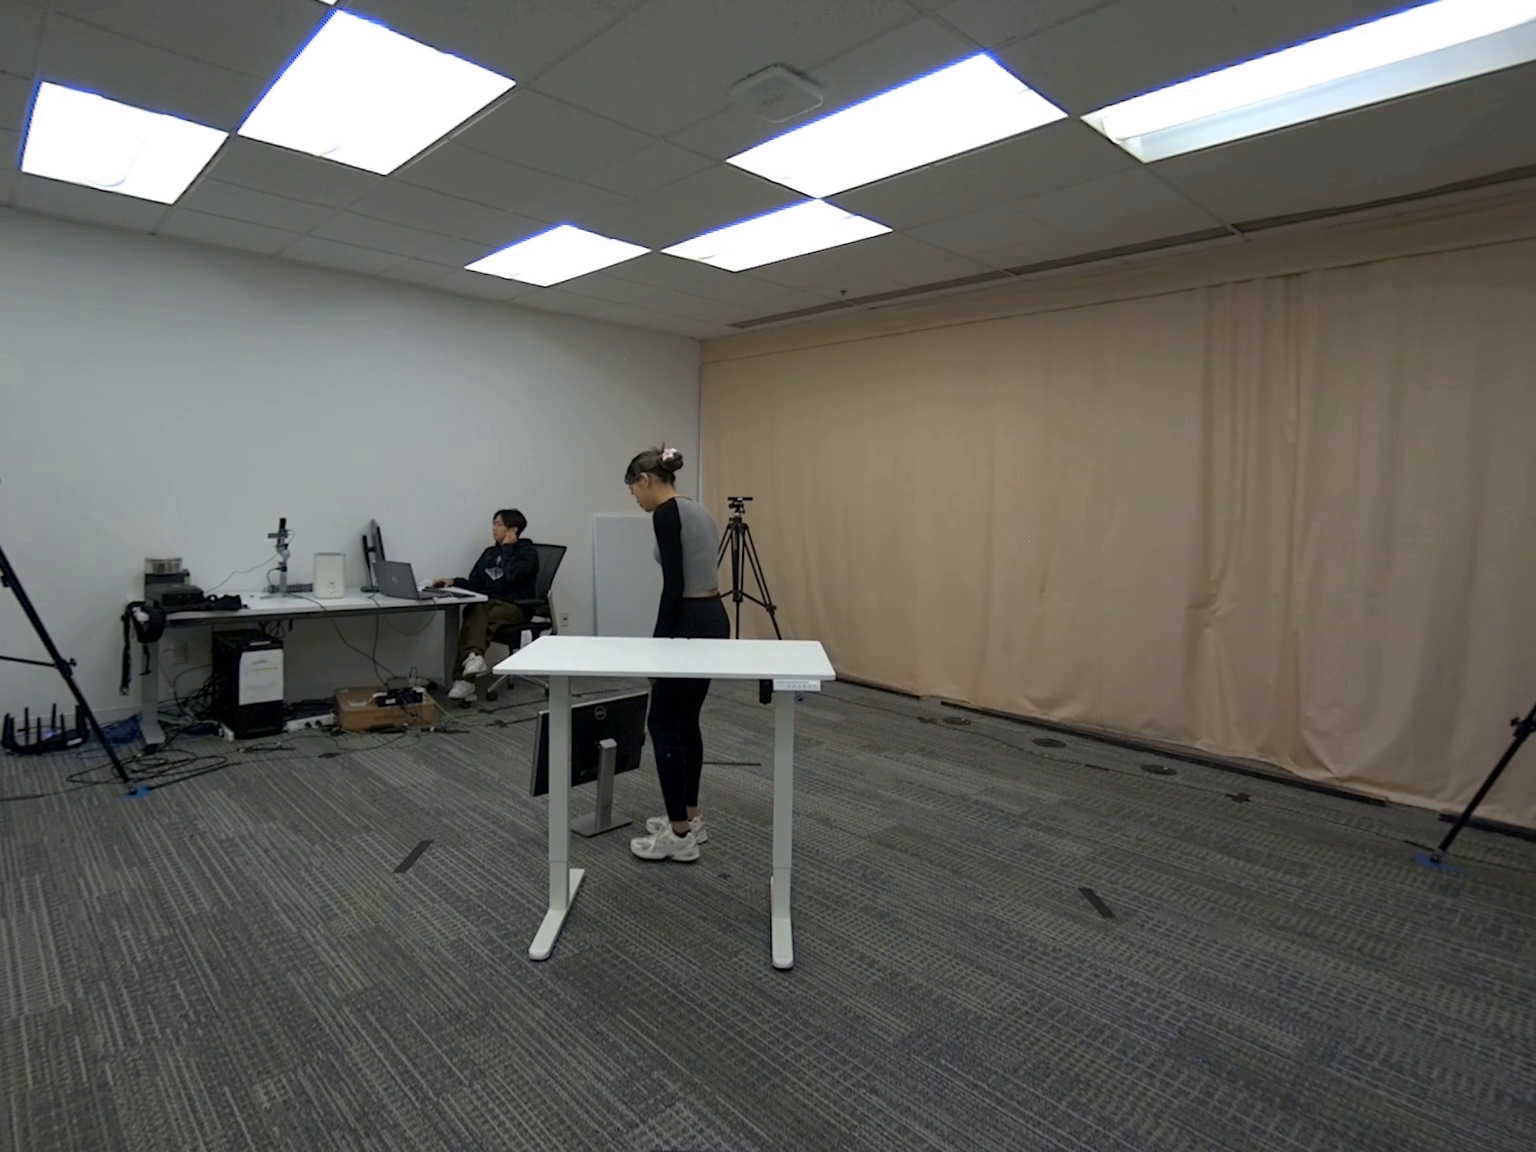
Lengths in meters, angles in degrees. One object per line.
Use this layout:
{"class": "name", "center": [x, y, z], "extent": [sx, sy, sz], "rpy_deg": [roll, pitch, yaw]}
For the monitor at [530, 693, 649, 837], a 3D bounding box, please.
{"class": "monitor", "center": [-0.728, 0.792, 3.555], "extent": [0.191, 0.522, 0.527], "rpy_deg": [1, 3, 41]}
